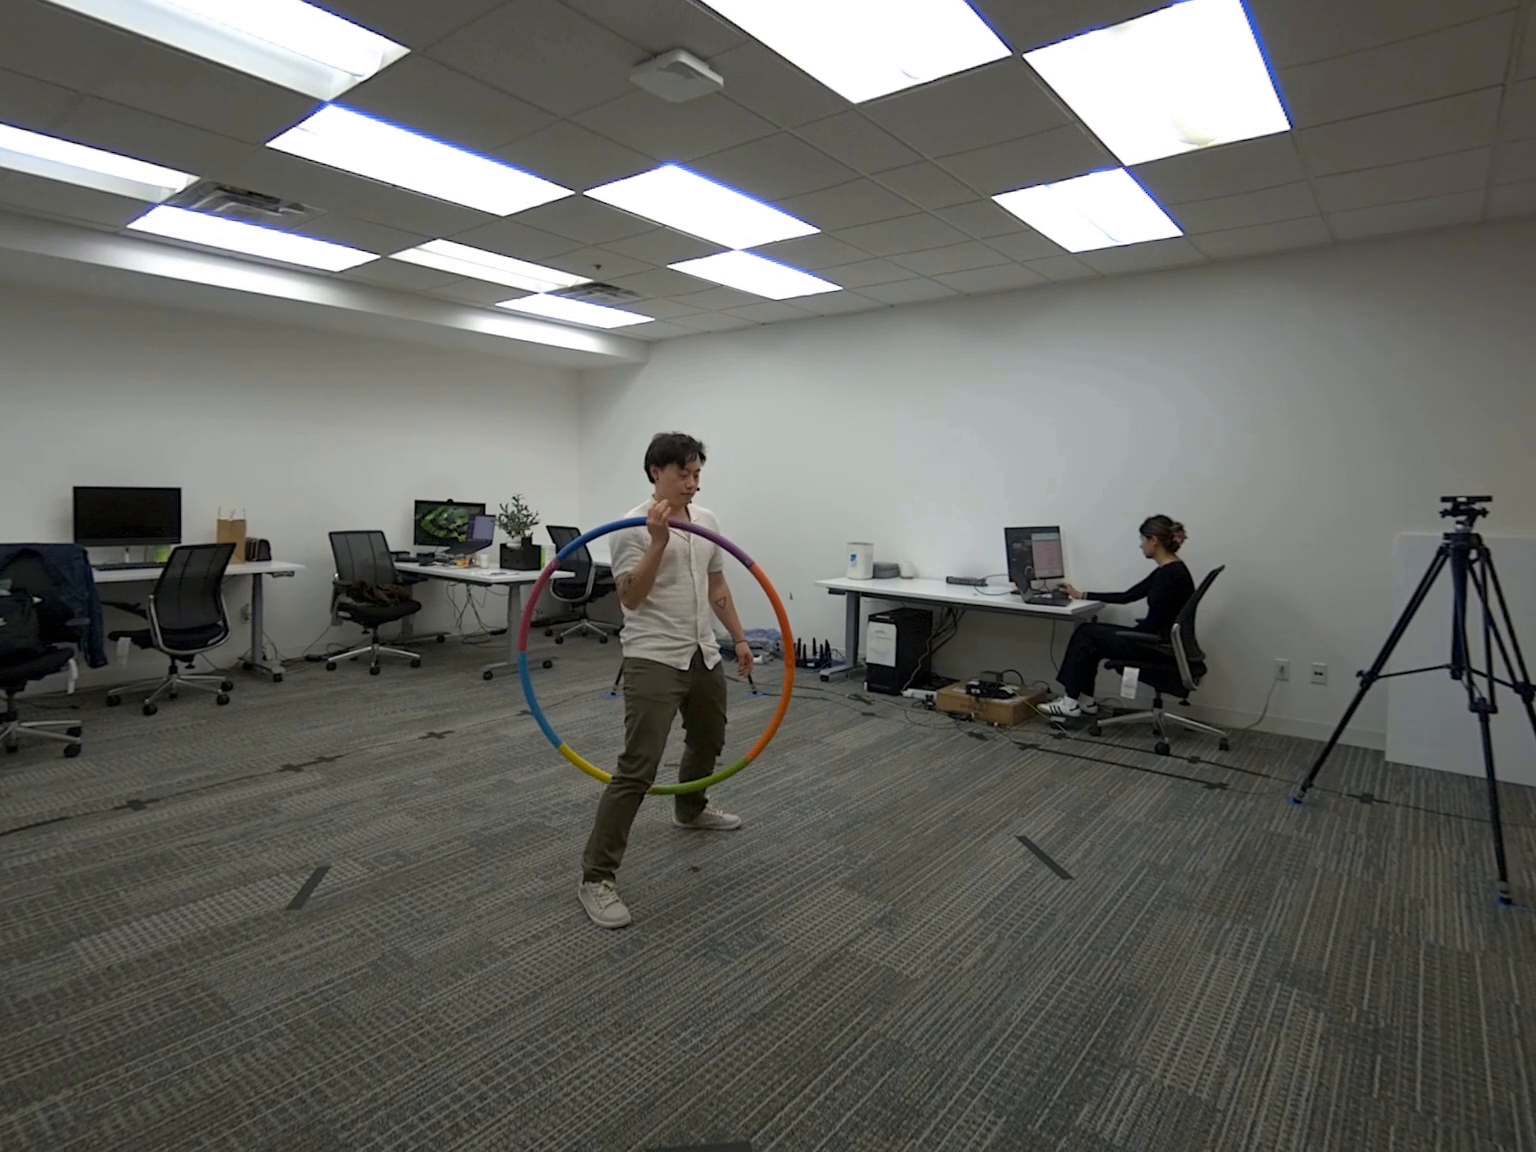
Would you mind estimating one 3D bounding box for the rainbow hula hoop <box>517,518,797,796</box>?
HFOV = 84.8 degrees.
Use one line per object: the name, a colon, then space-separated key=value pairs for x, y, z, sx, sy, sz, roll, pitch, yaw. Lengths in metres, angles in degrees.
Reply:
rainbow hula hoop: x=-0.404 y=0.277 z=2.952 sx=0.986 sy=0.972 sz=0.035 roll=1 pitch=7 yaw=7
